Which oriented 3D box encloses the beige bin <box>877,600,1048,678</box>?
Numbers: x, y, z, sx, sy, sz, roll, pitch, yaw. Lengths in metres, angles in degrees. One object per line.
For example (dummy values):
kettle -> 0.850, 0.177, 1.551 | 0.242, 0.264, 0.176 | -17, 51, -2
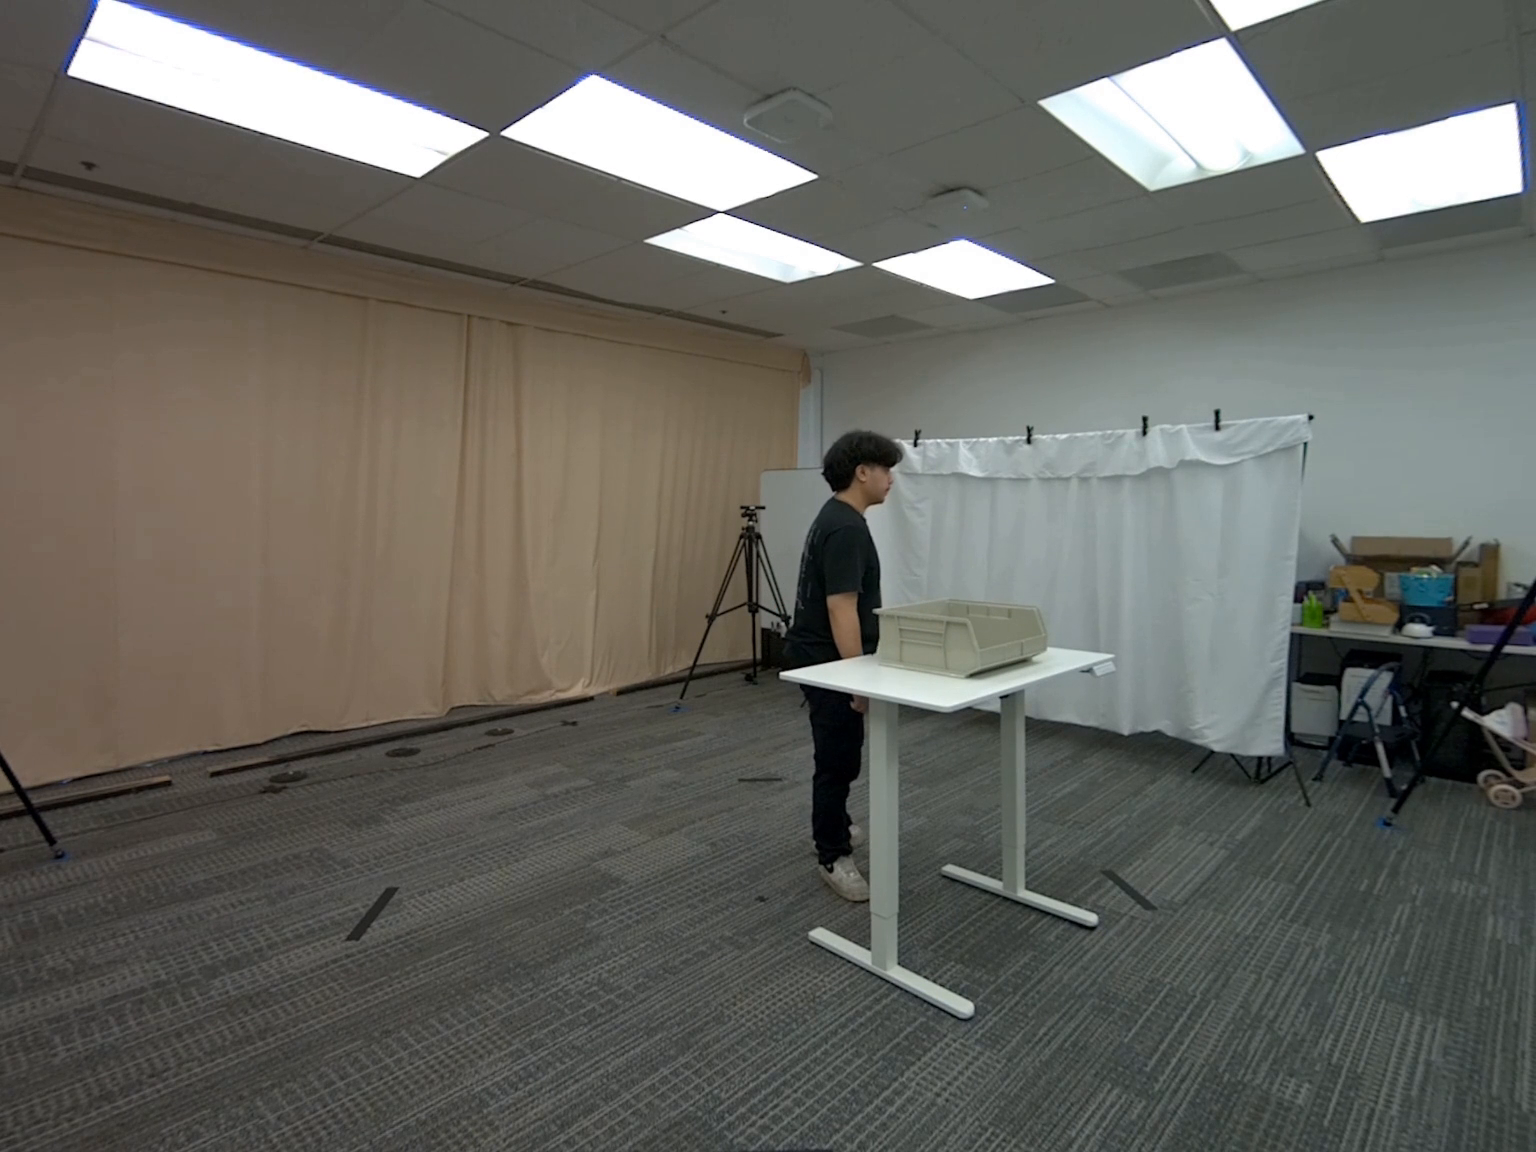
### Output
beige bin -> 0.627, 0.195, 2.703 | 0.409, 0.188, 0.390 | -5, 5, -43
